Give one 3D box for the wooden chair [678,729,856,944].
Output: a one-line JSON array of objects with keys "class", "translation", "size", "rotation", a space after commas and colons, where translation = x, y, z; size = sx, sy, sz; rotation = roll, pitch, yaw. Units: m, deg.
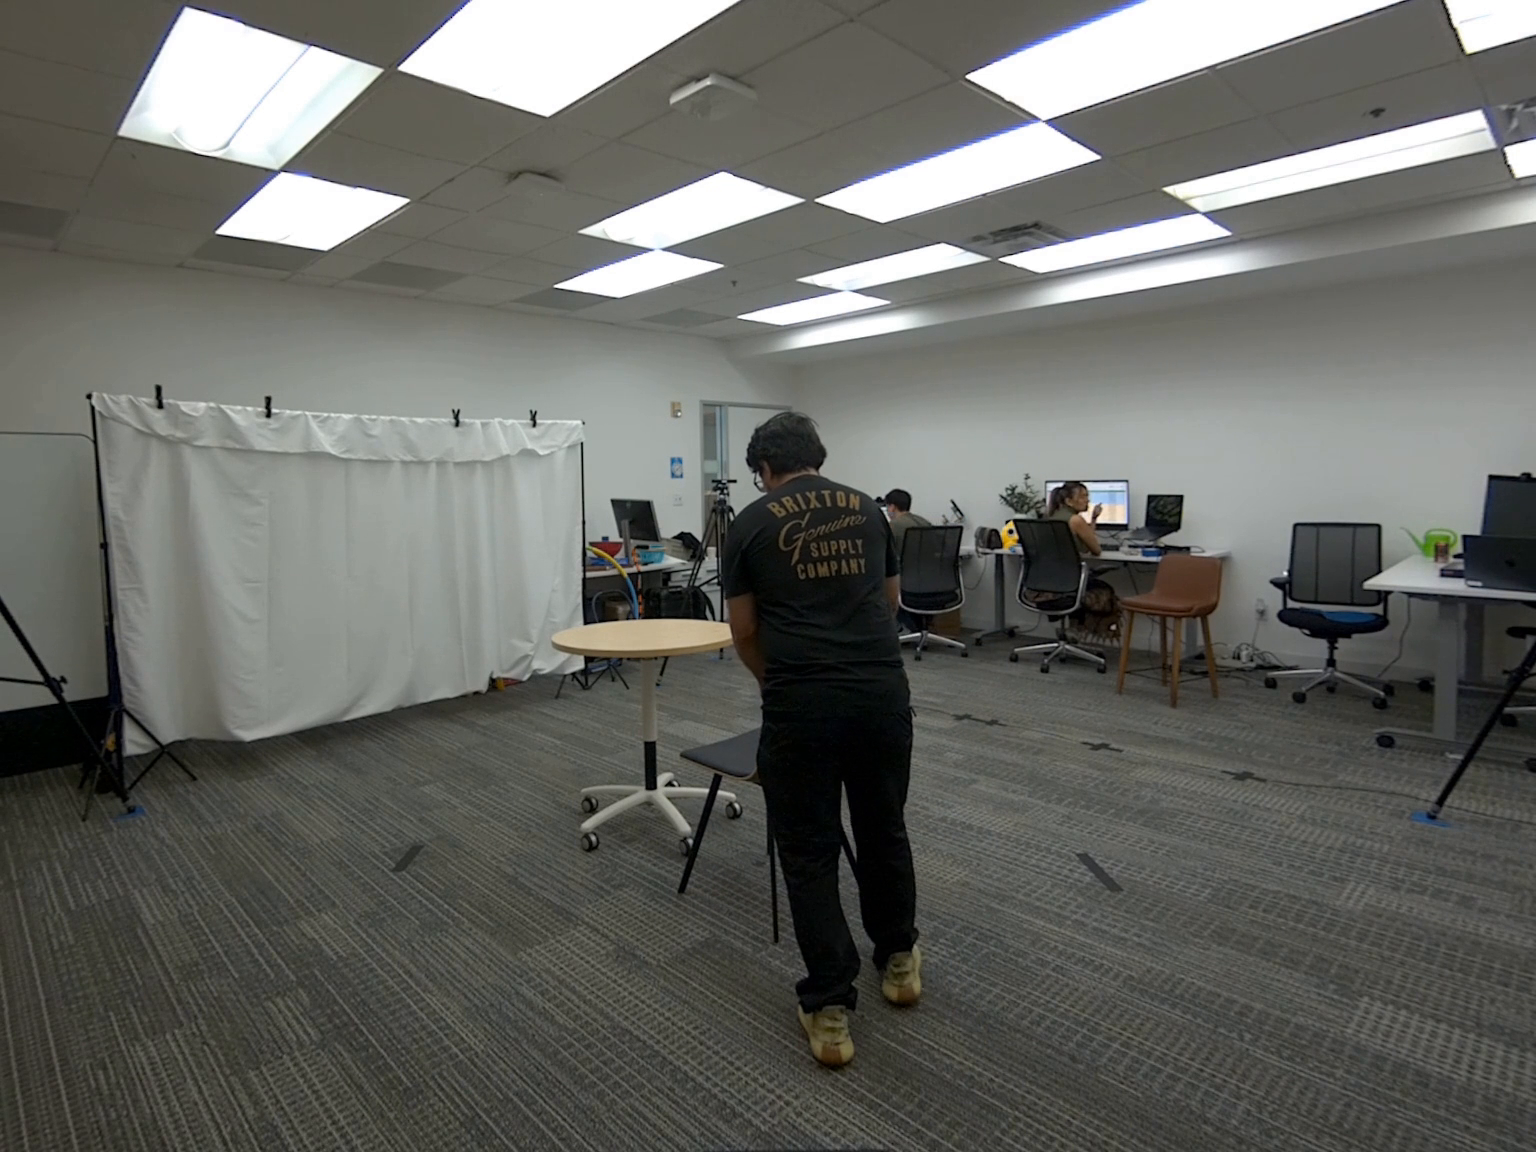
[{"class": "wooden chair", "translation": [0.006, 0.648, 2.865], "size": [0.541, 0.872, 0.465], "rotation": [10, 10, 44]}]
